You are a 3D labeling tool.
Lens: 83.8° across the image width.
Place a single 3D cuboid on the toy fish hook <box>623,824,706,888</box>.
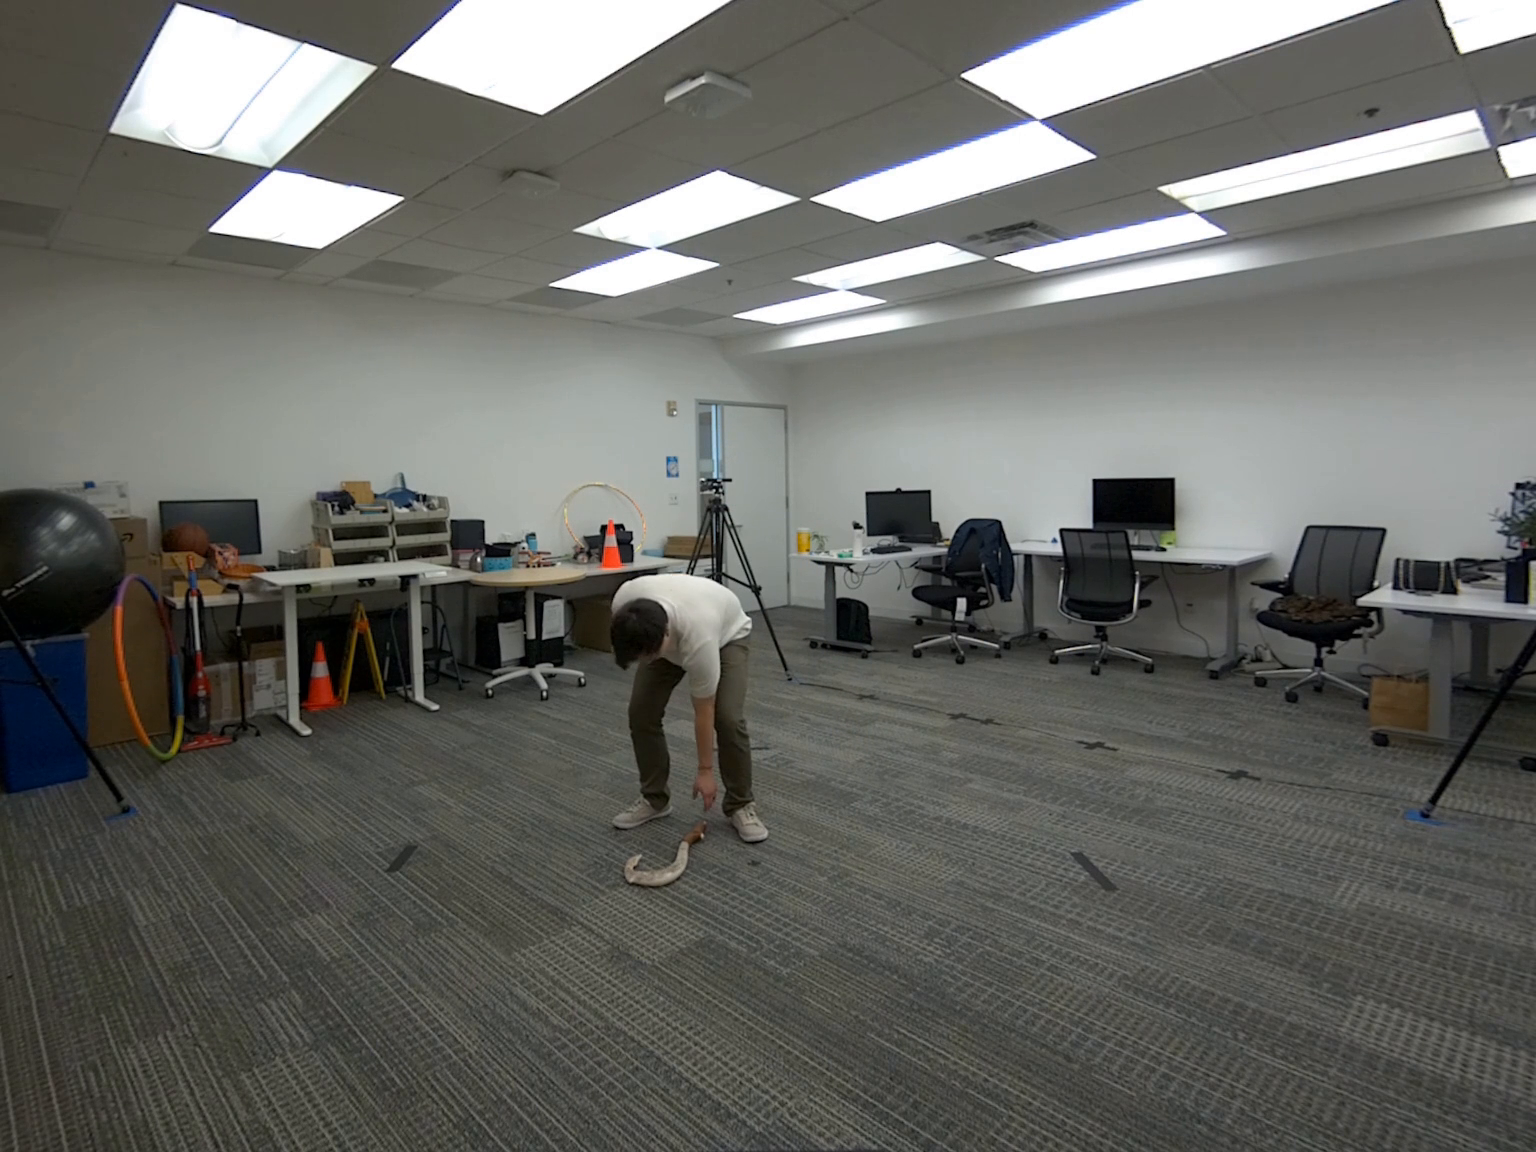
[{"bbox_3d":[-0.372,1.020,3.173,0.228,0.048,0.501,2,7,15],"label":"toy fish hook"}]
